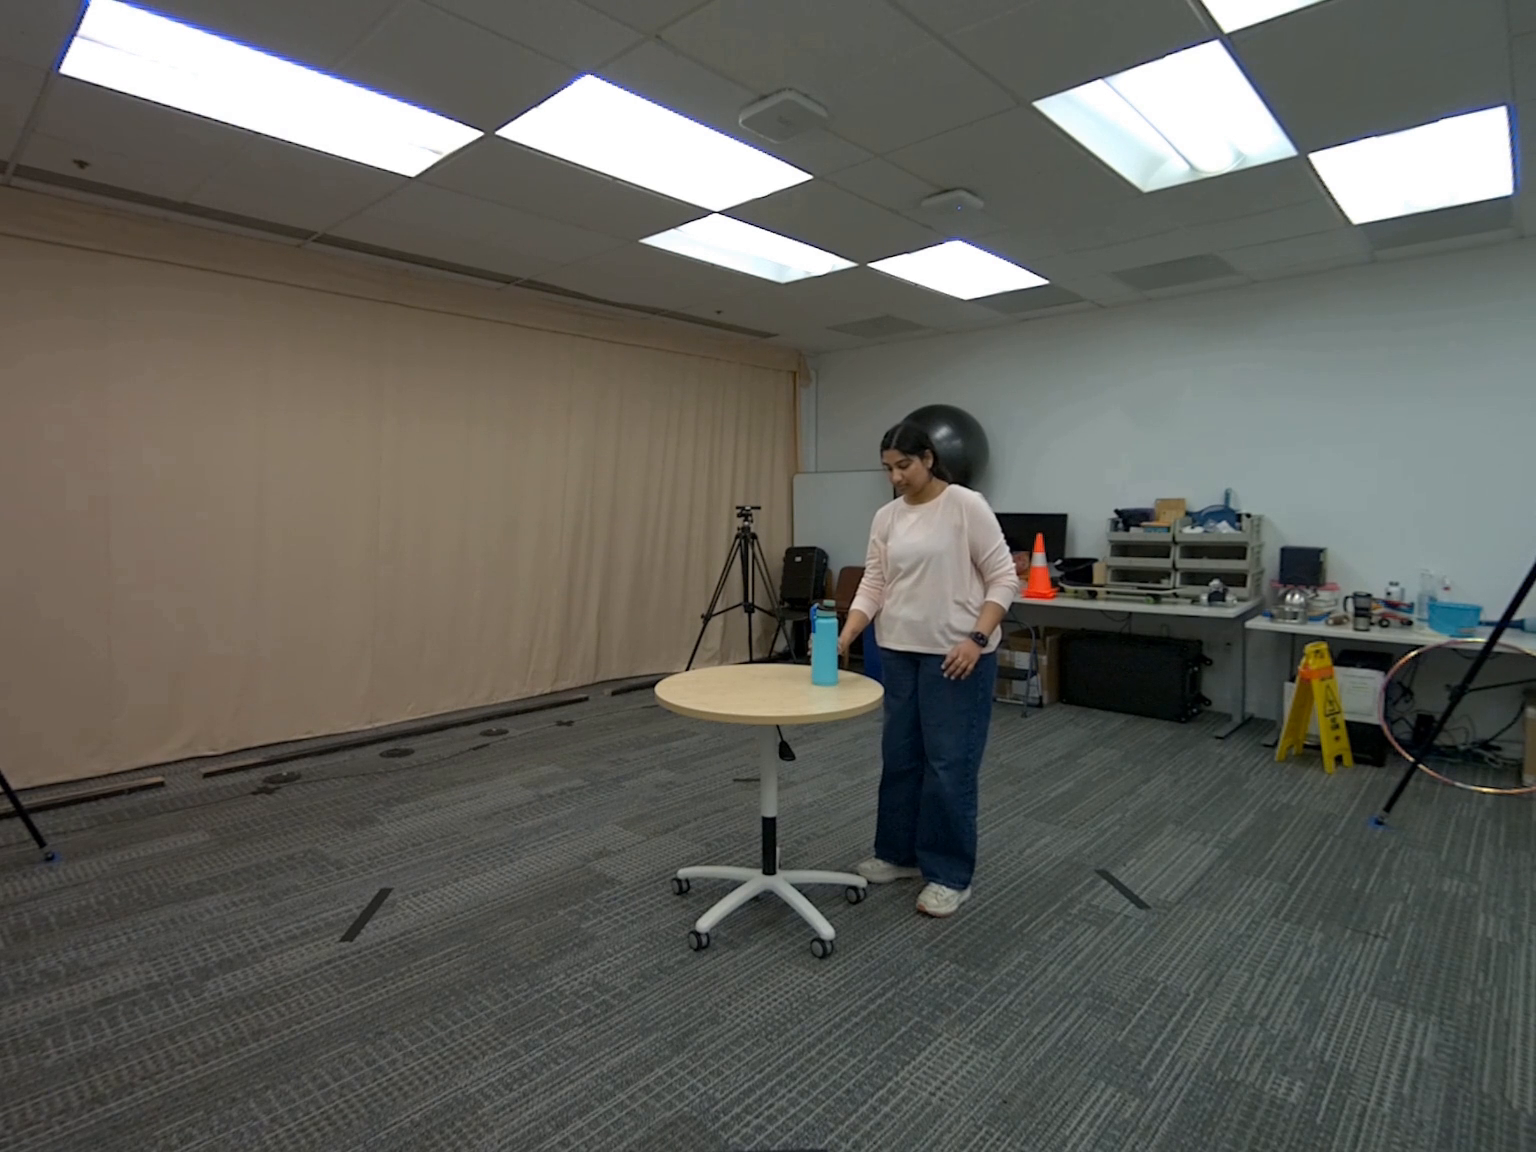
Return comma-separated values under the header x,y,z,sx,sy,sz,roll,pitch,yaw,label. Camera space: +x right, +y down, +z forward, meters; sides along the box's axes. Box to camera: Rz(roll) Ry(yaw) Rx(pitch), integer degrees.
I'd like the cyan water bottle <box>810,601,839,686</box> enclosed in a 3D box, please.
x,y,z,sx,sy,sz,roll,pitch,yaw,label
0.199,0.231,2.871,0.092,0.283,0.092,-1,4,-2,cyan water bottle
